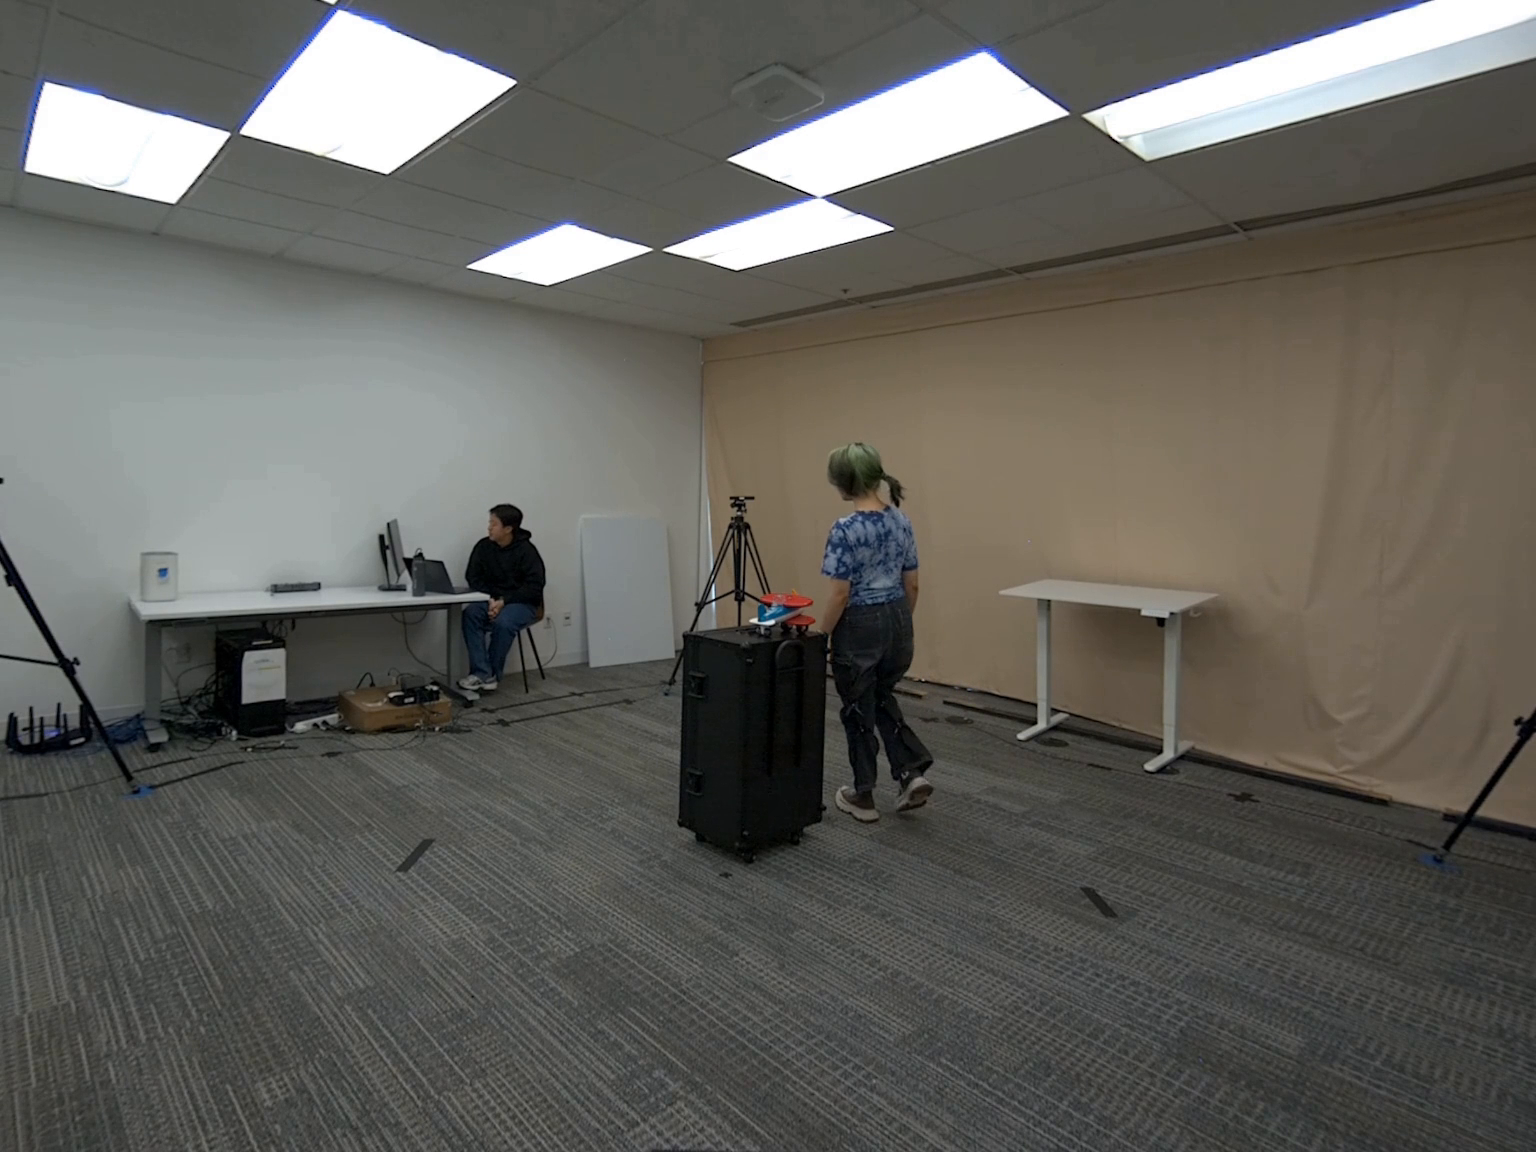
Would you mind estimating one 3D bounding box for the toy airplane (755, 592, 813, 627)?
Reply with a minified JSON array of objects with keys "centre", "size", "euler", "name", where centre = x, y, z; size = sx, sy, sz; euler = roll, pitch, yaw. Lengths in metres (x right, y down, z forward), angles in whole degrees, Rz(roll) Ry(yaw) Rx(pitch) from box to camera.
[{"centre":[0.063,0.158,3.371],"size":[0.254,0.156,0.256],"euler":[4,4,15],"name":"toy airplane"}]
